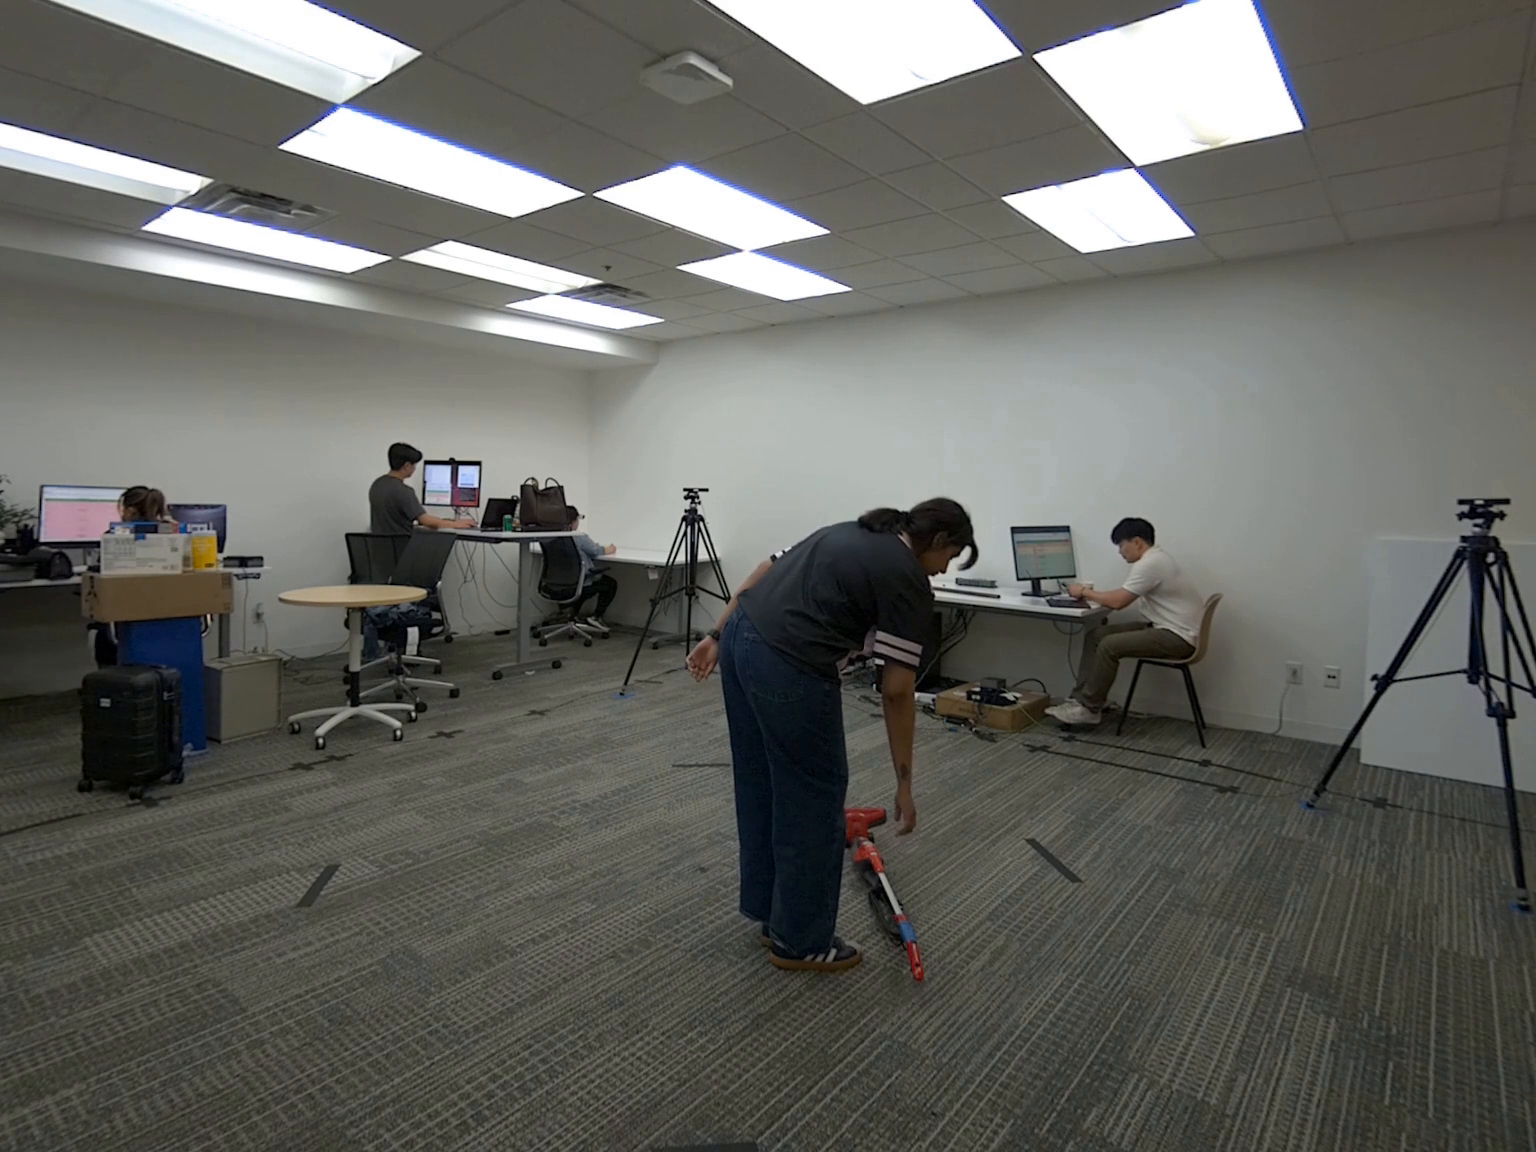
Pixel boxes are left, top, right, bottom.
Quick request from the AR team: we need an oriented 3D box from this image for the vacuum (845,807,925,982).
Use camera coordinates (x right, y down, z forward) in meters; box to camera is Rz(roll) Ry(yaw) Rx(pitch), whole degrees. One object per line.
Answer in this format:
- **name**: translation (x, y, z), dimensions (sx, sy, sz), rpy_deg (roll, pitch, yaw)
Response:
- **vacuum**: translation (0.374, 1.044, 2.847), dimensions (0.252, 0.143, 1.058), rpy_deg (1, 6, -5)
